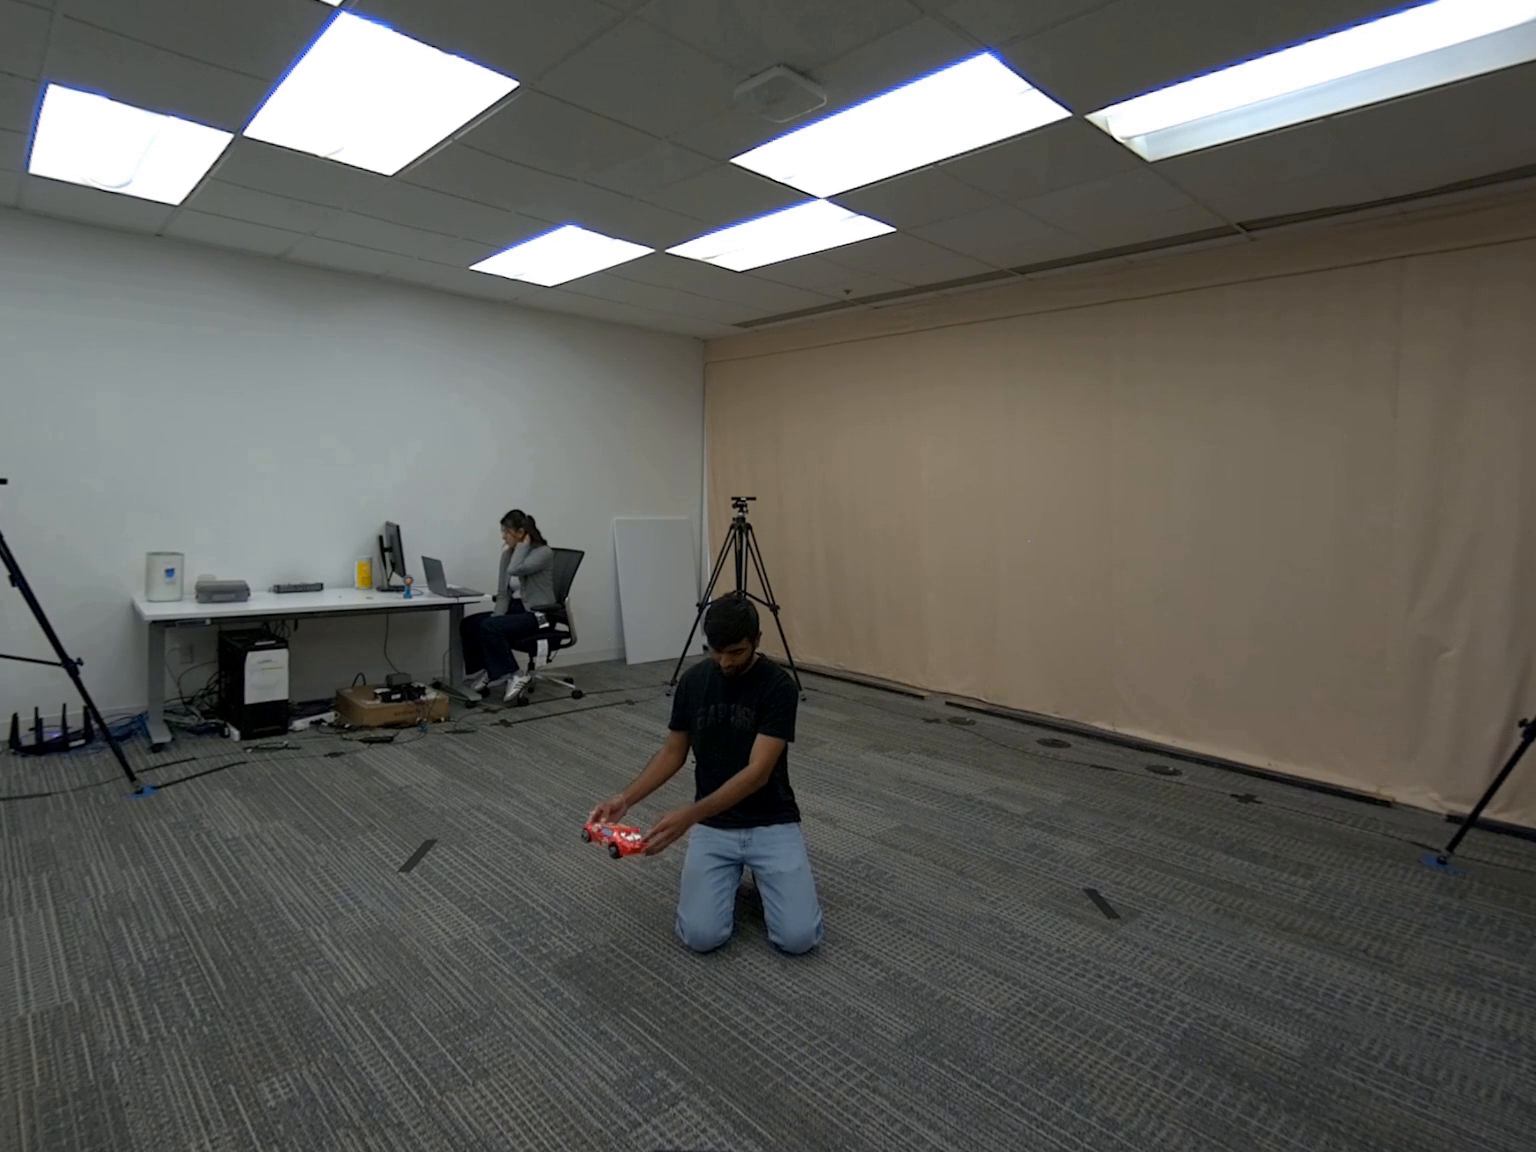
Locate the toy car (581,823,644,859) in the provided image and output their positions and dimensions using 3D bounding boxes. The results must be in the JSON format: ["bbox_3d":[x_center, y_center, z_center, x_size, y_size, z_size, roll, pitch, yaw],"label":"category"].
[{"bbox_3d":[-0.458,0.812,2.586,0.260,0.084,0.127,-7,-10,44],"label":"toy car"}]
